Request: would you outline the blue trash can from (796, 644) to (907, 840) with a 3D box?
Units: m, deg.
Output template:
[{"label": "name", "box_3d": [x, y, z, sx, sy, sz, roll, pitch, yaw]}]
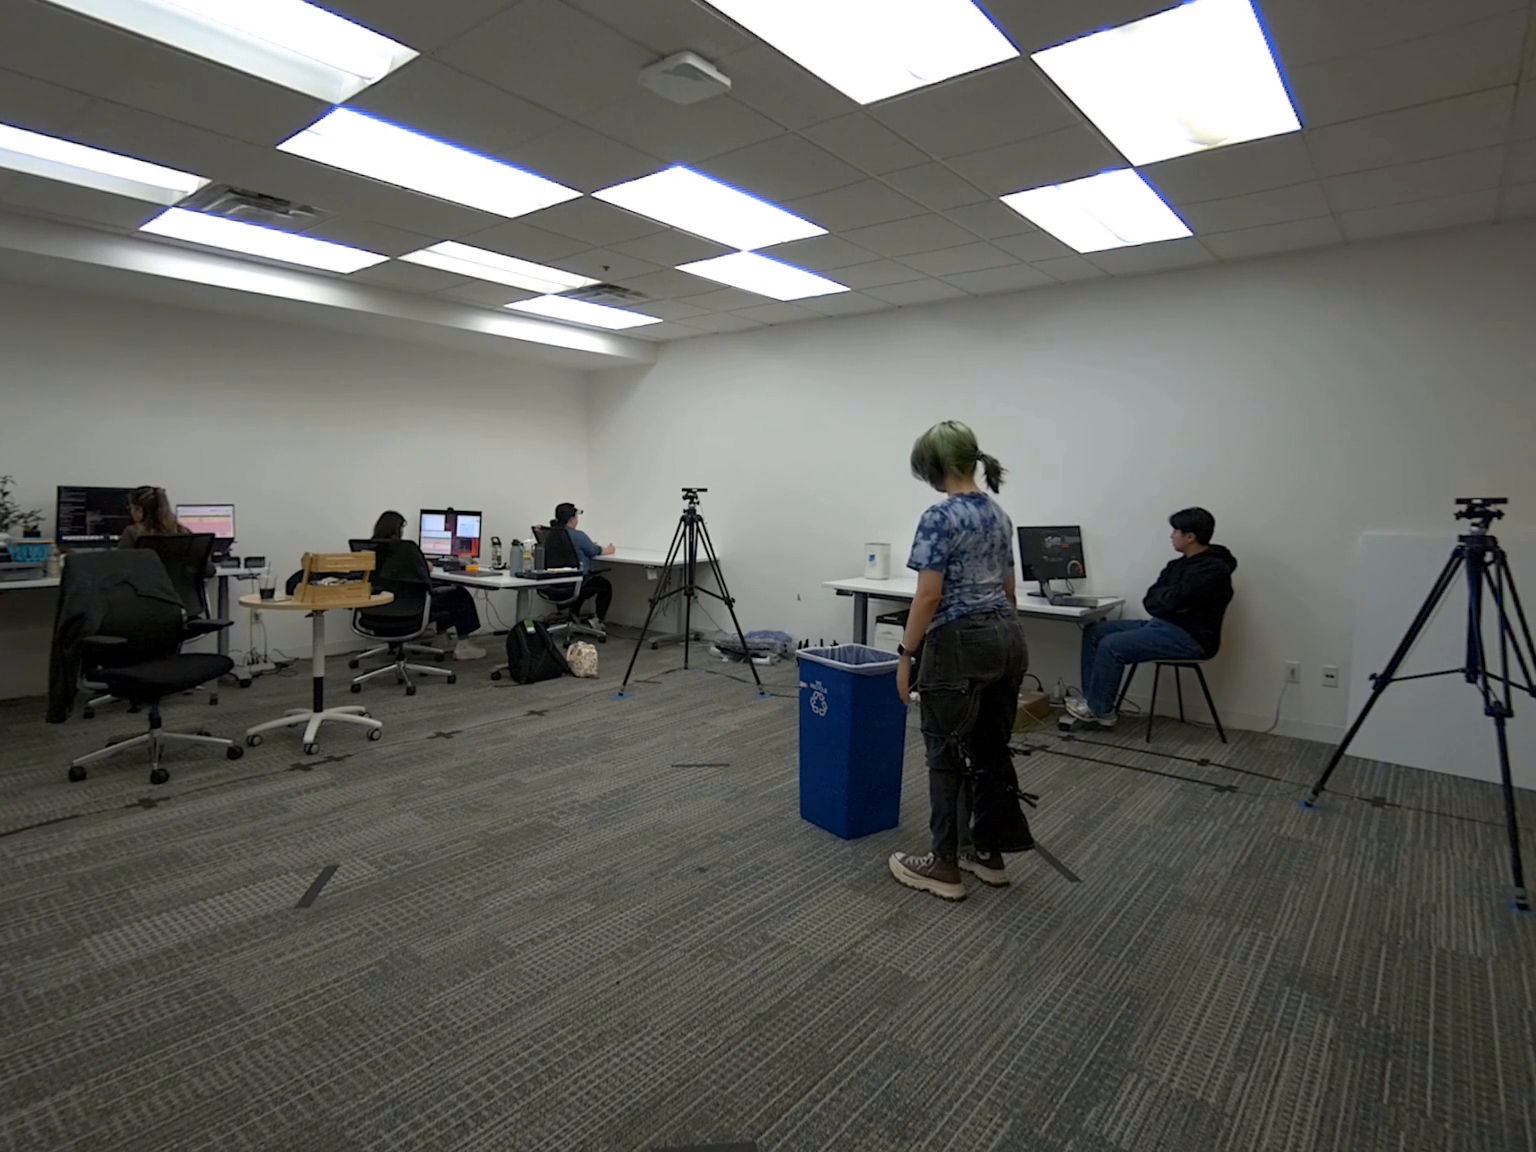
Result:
[{"label": "blue trash can", "box_3d": [0.351, 0.680, 3.575, 0.367, 0.711, 0.386, -1, 4, -37]}]
